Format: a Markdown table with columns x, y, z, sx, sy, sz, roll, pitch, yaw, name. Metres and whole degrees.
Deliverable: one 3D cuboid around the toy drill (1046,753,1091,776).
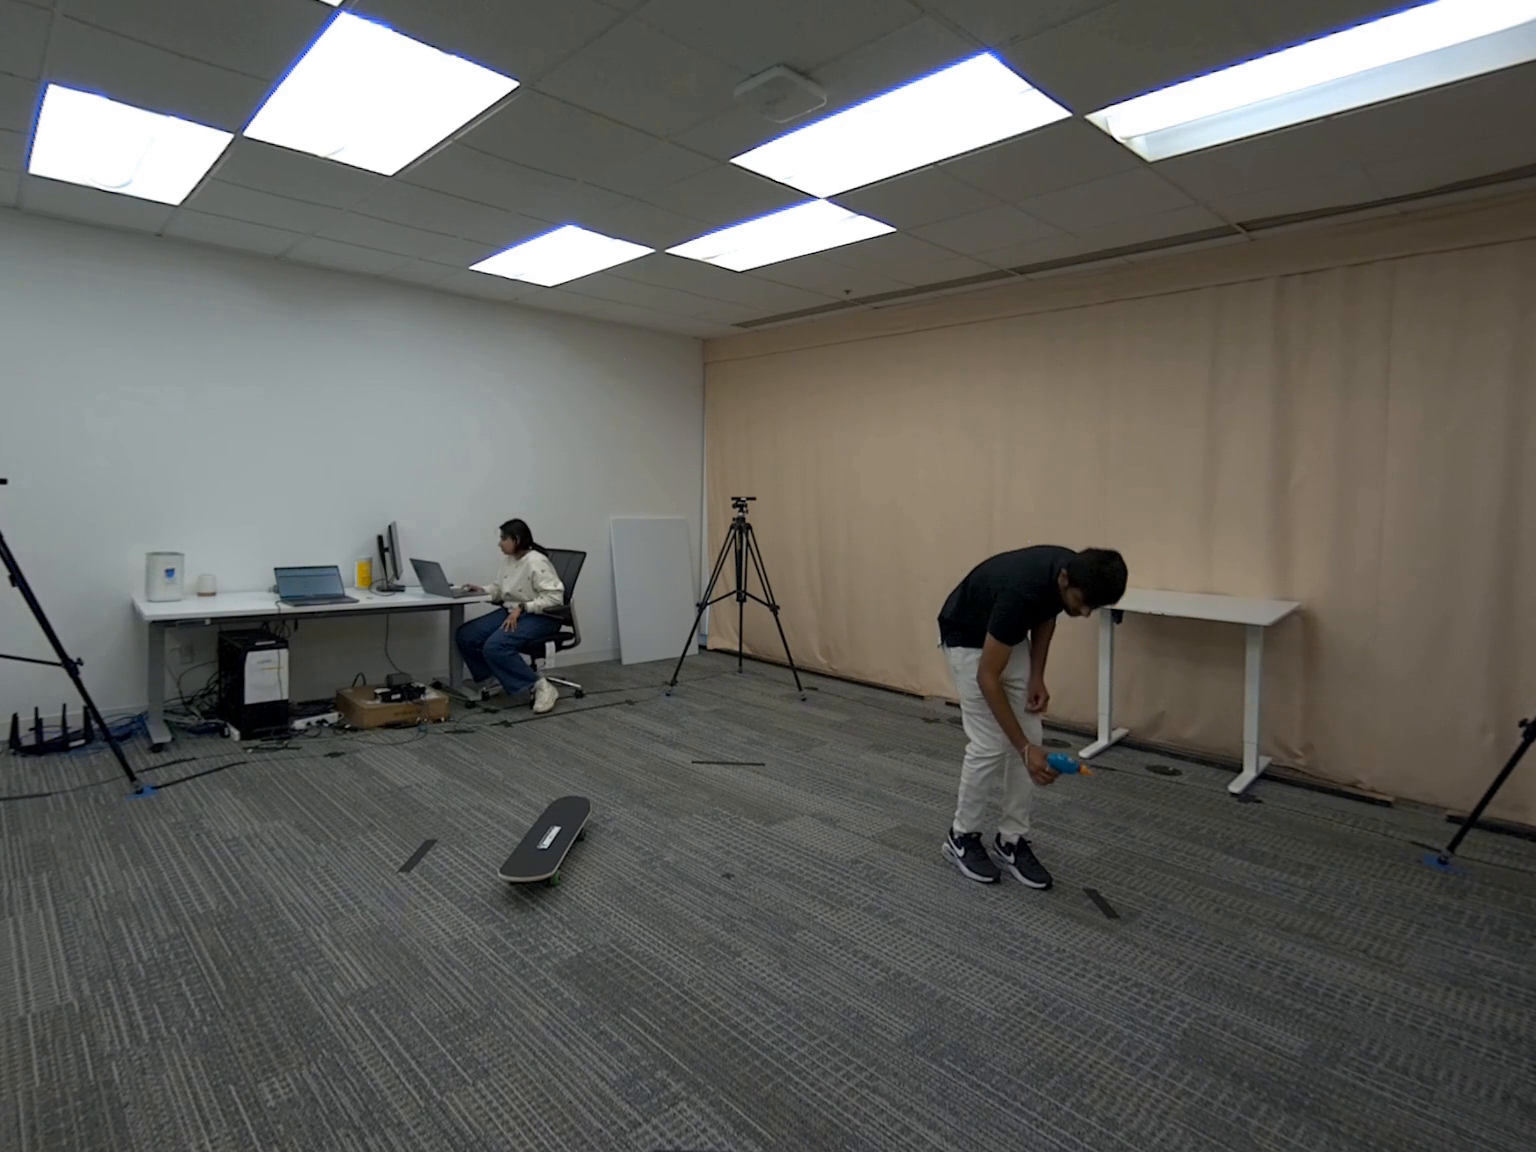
| x | y | z | sx | sy | sz | roll | pitch | yaw | name |
| --- | --- | --- | --- | --- | --- | --- | --- | --- | --- |
| 1.003 | 0.667 | 2.880 | 0.169 | 0.062 | 0.144 | 20 | -39 | -5 | toy drill |
